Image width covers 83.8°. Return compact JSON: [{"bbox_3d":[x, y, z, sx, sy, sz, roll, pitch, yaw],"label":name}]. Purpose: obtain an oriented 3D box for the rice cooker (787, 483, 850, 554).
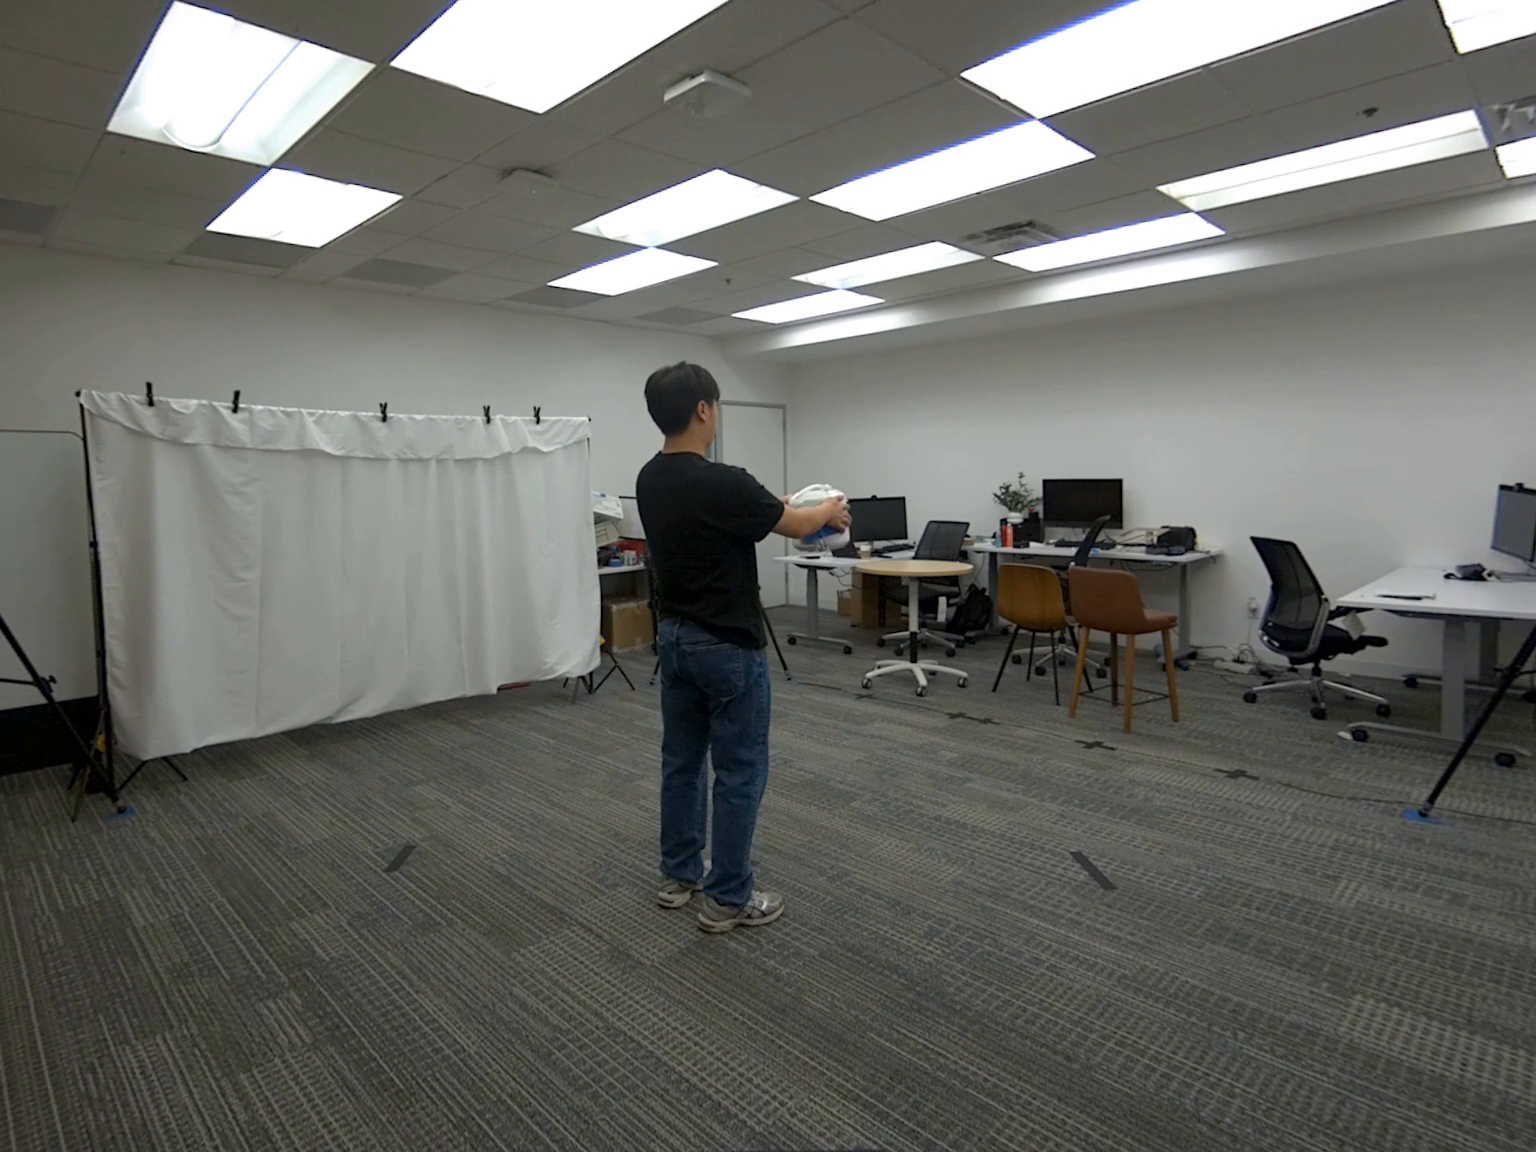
[{"bbox_3d":[0.184,-0.209,3.069,0.215,0.231,0.224,-11,9,-40],"label":"rice cooker"}]
